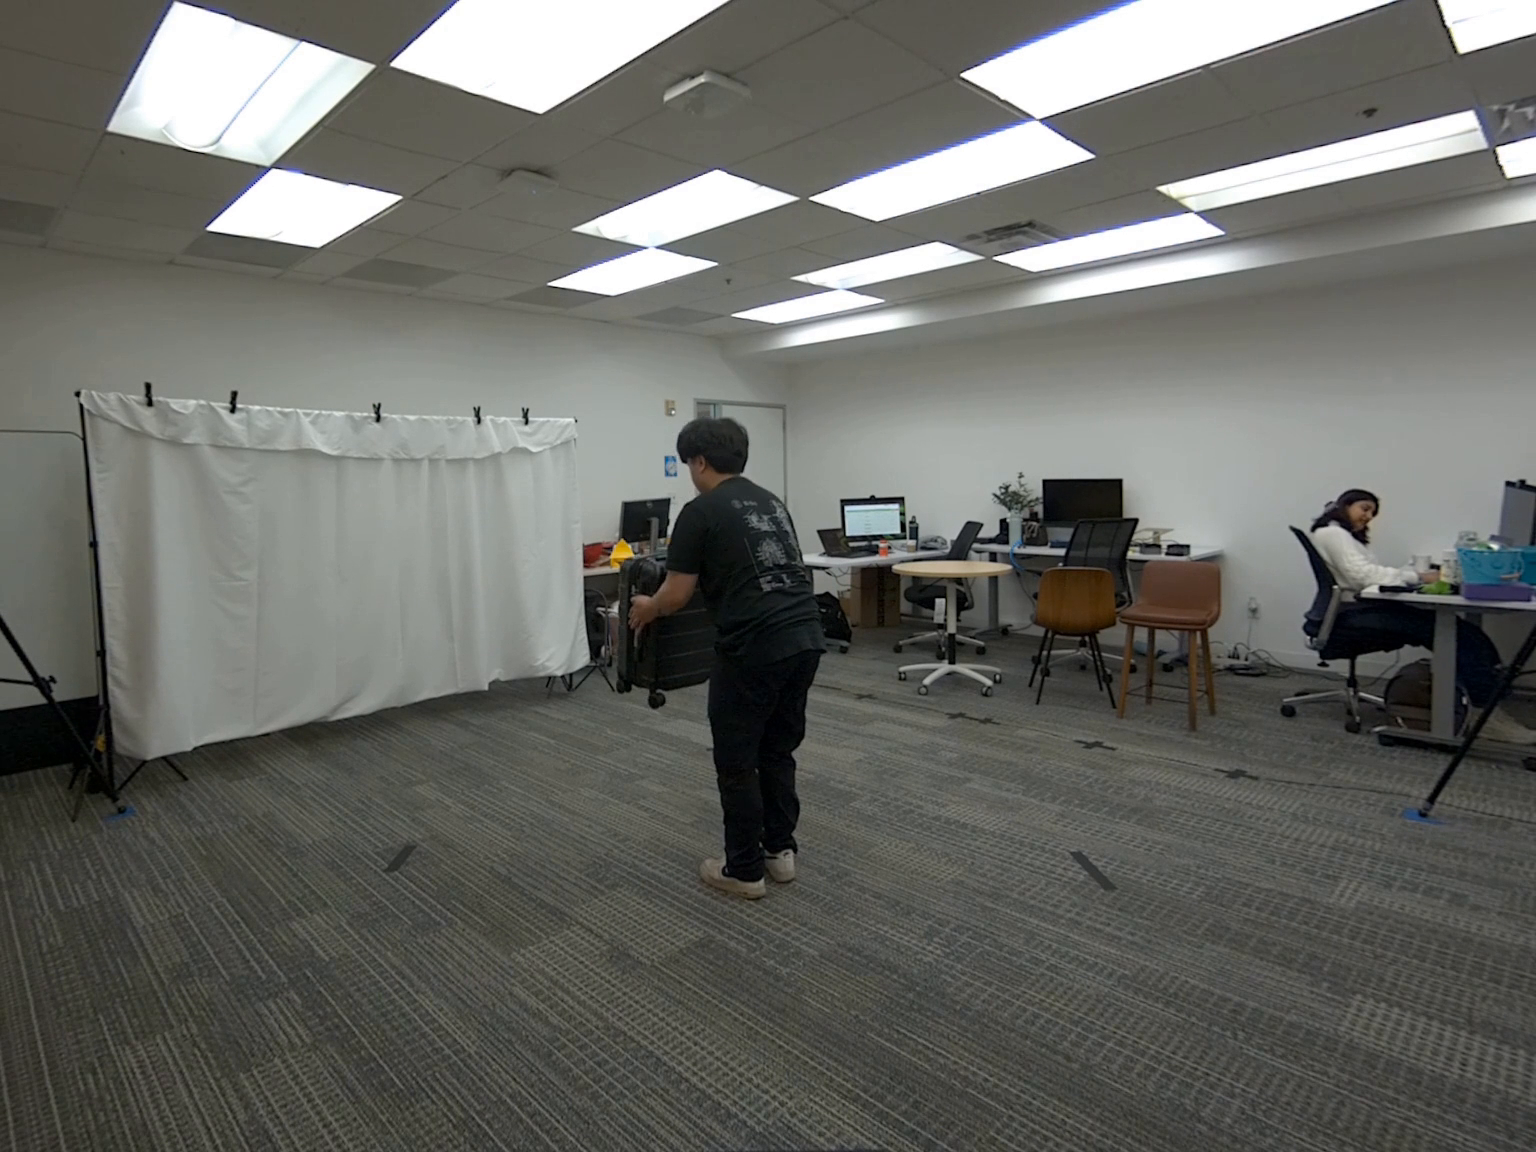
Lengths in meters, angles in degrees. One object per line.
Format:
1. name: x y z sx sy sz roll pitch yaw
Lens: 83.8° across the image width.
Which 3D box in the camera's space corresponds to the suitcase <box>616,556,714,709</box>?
1. suitcase: -0.392 0.190 3.306 0.365 0.546 0.256 -5 9 -43
